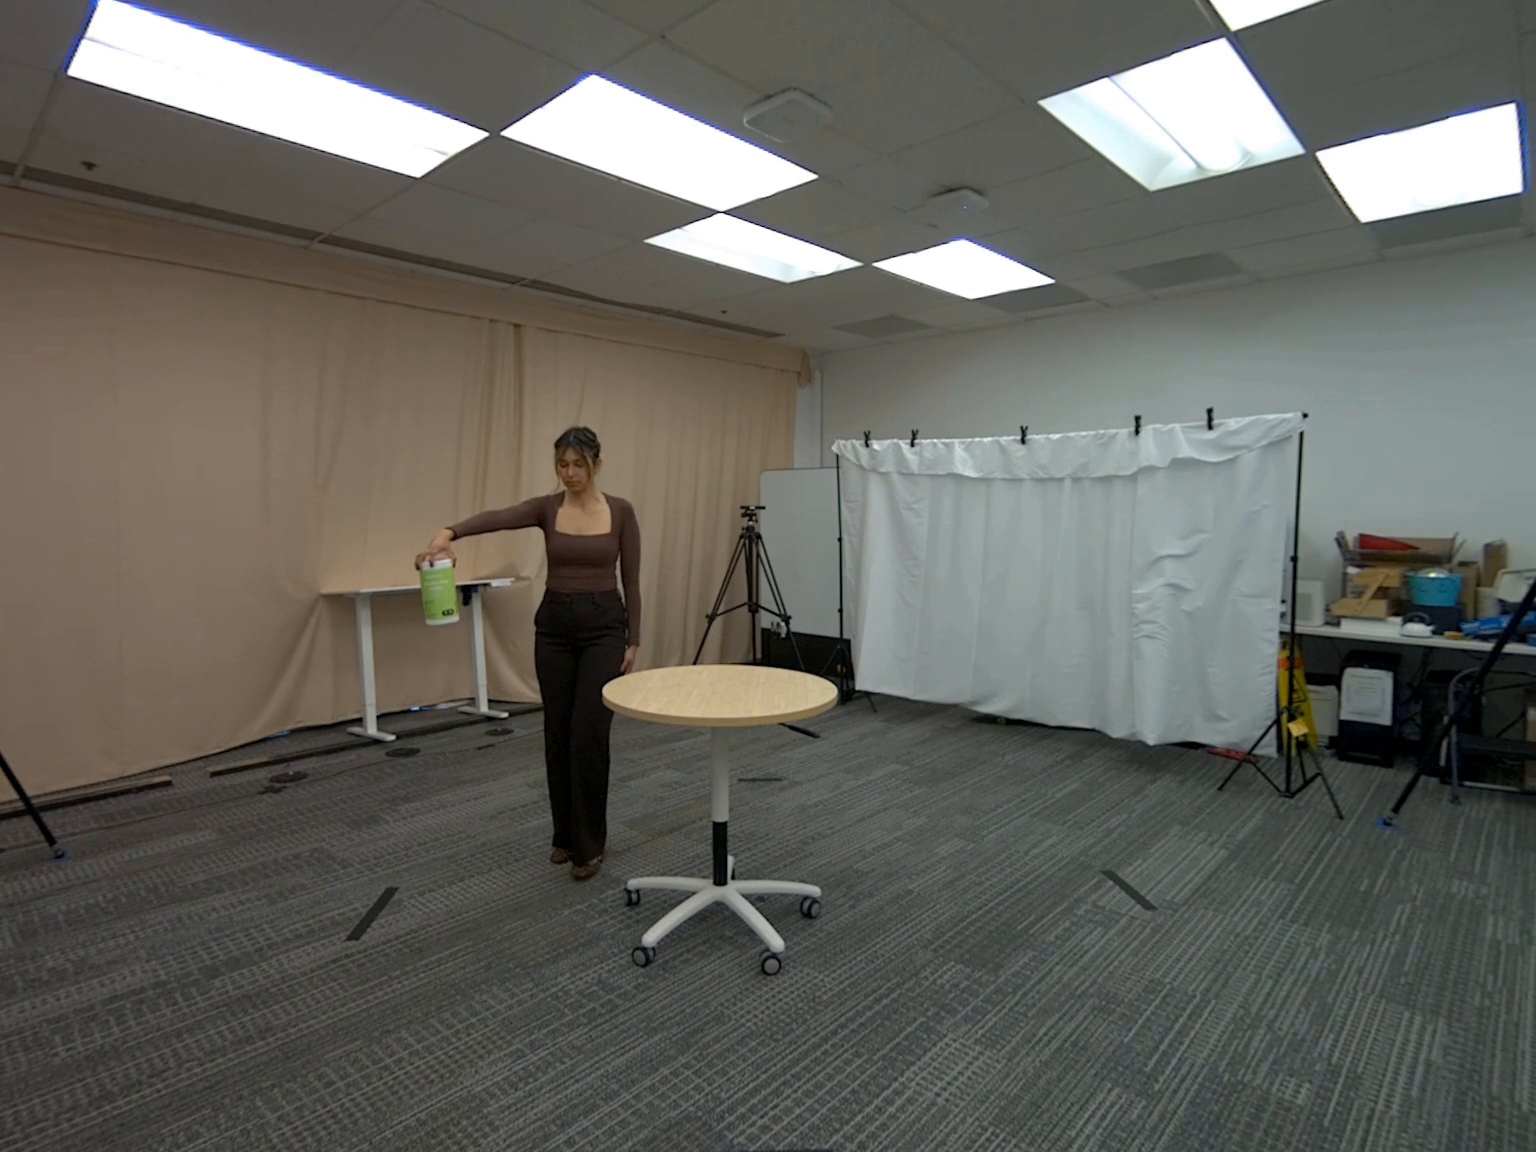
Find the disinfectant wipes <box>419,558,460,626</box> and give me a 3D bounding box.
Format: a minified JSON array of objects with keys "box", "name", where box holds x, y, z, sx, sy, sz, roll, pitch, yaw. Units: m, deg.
[{"box":[-1.113,0.055,2.828,0.118,0.216,0.118,-5,6,-1],"name":"disinfectant wipes"}]
